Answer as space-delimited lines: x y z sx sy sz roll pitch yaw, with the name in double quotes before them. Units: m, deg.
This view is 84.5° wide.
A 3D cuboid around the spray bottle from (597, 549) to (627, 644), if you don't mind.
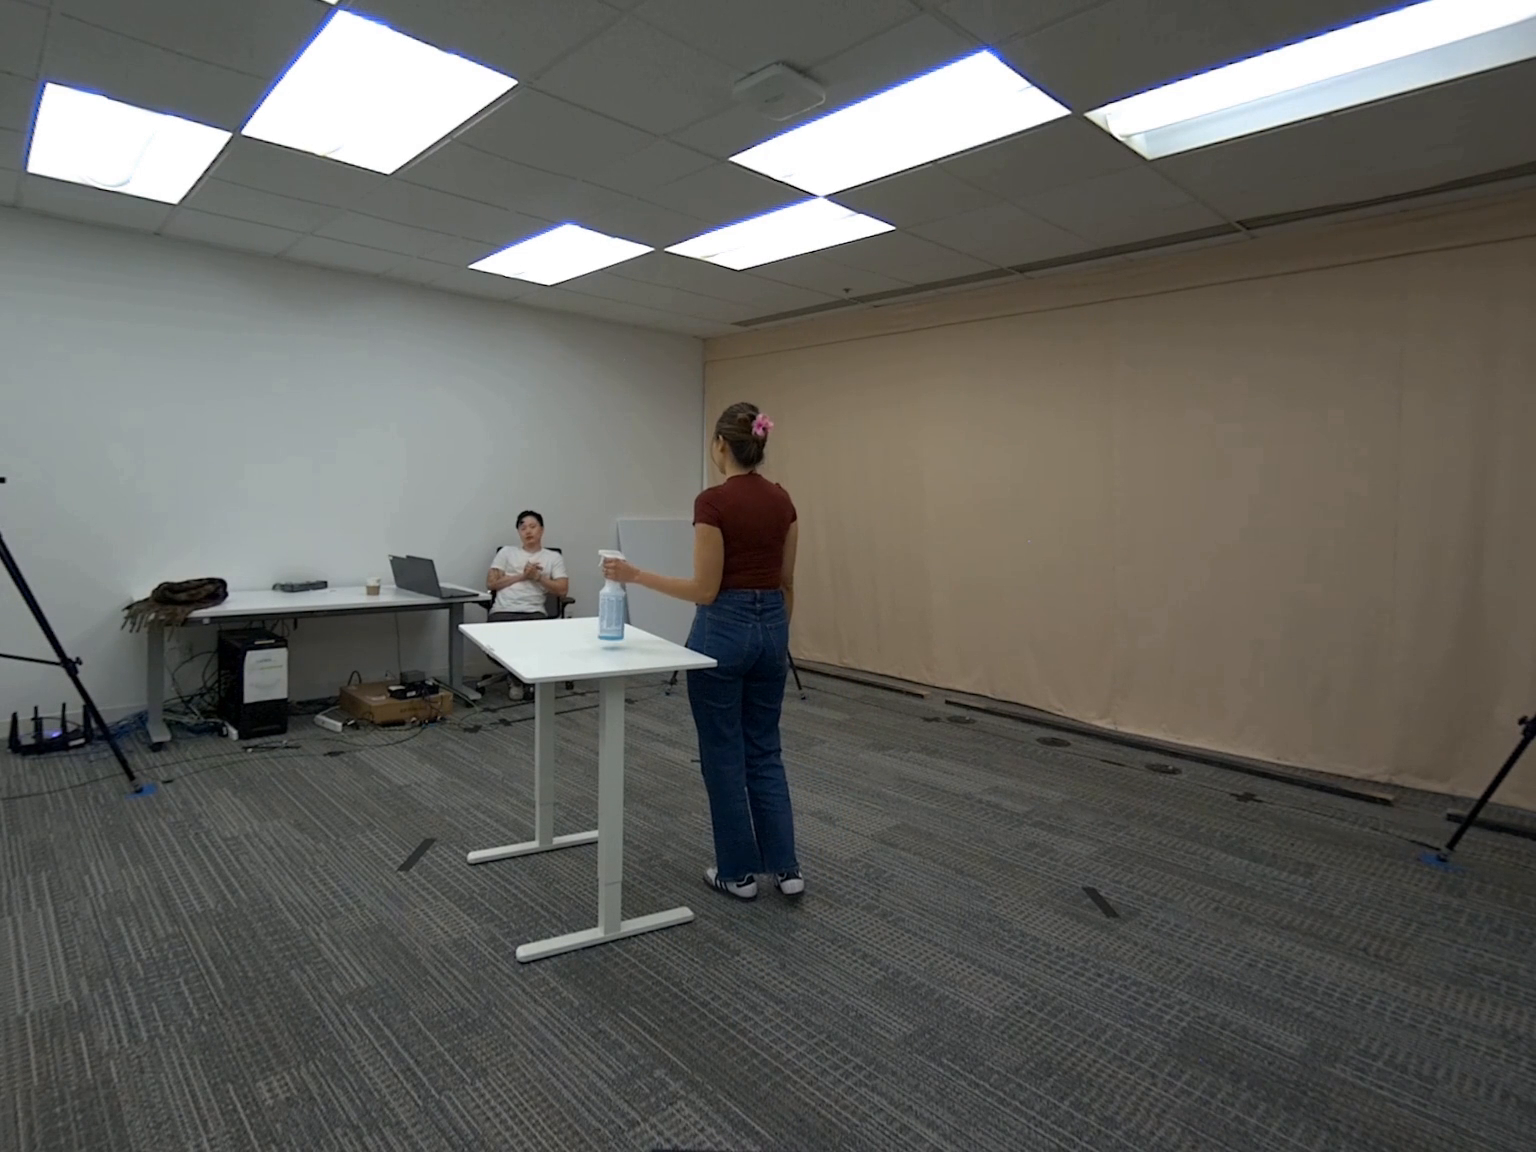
"spray bottle" -0.519 0.060 2.800 0.091 0.297 0.085 0 -1 19
